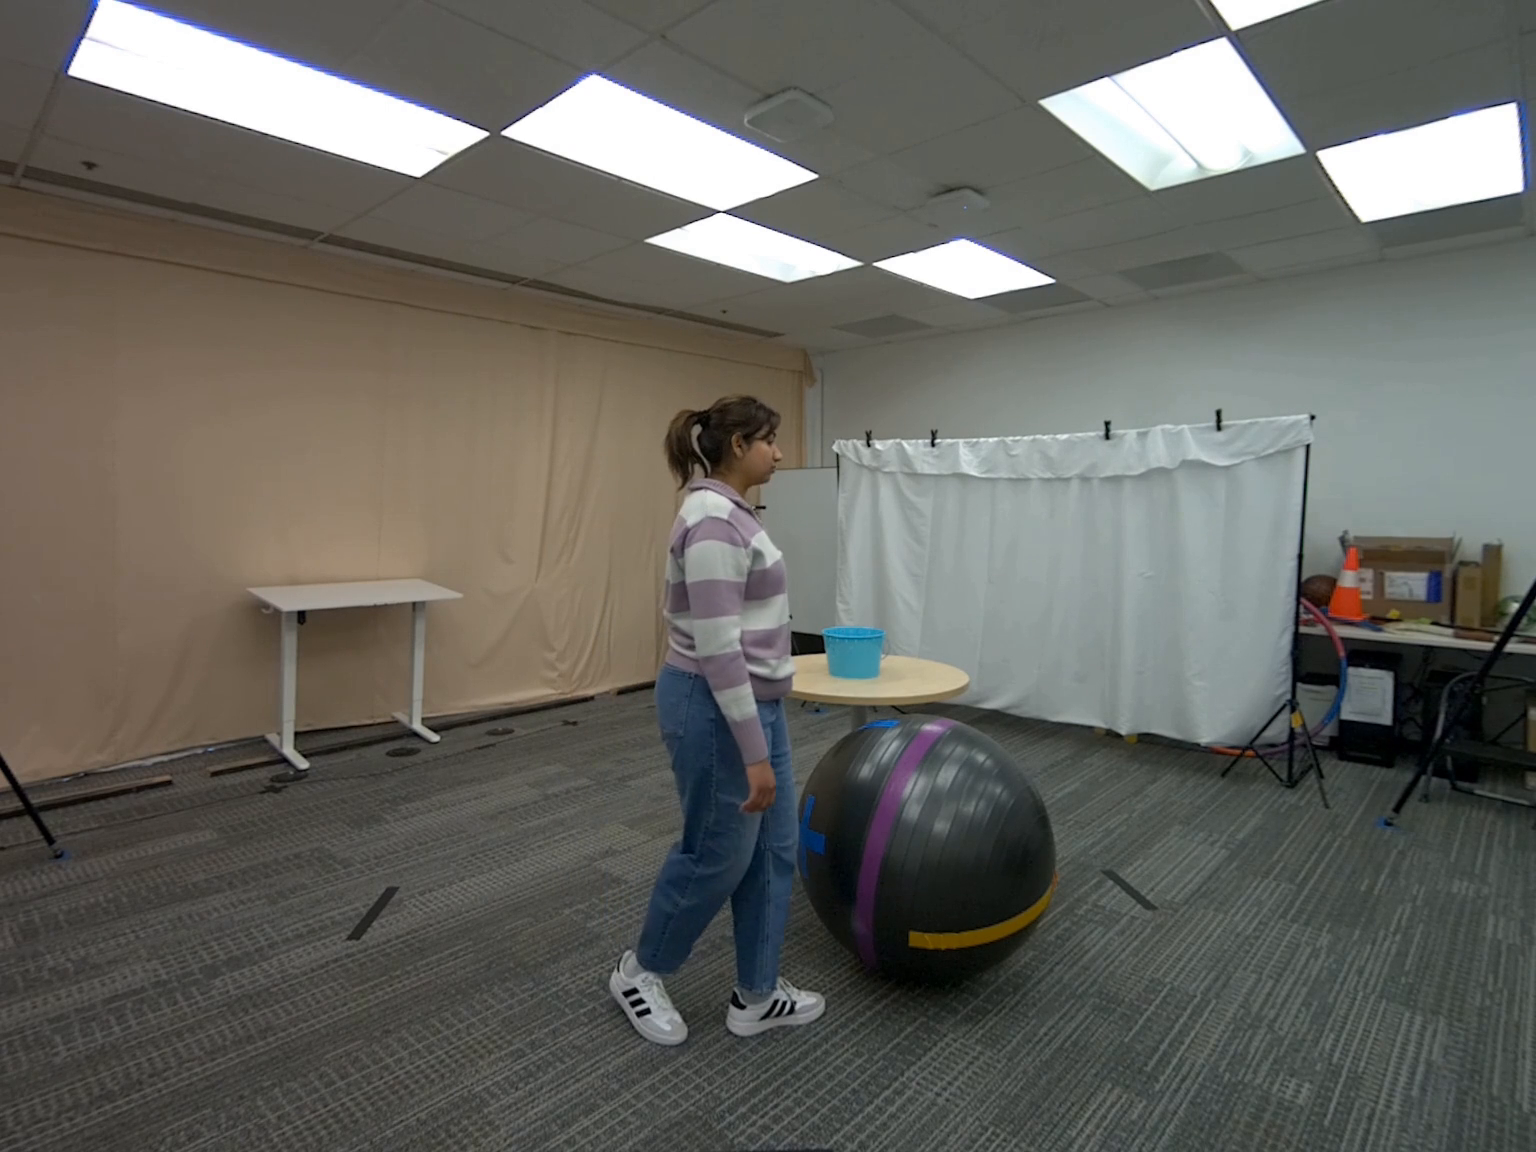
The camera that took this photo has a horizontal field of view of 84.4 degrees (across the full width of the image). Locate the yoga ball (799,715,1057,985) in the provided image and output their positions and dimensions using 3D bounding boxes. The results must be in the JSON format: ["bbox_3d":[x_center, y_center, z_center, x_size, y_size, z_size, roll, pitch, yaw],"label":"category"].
[{"bbox_3d":[0.476,0.810,2.543,0.757,0.756,0.760,0,4,-2],"label":"yoga ball"}]
